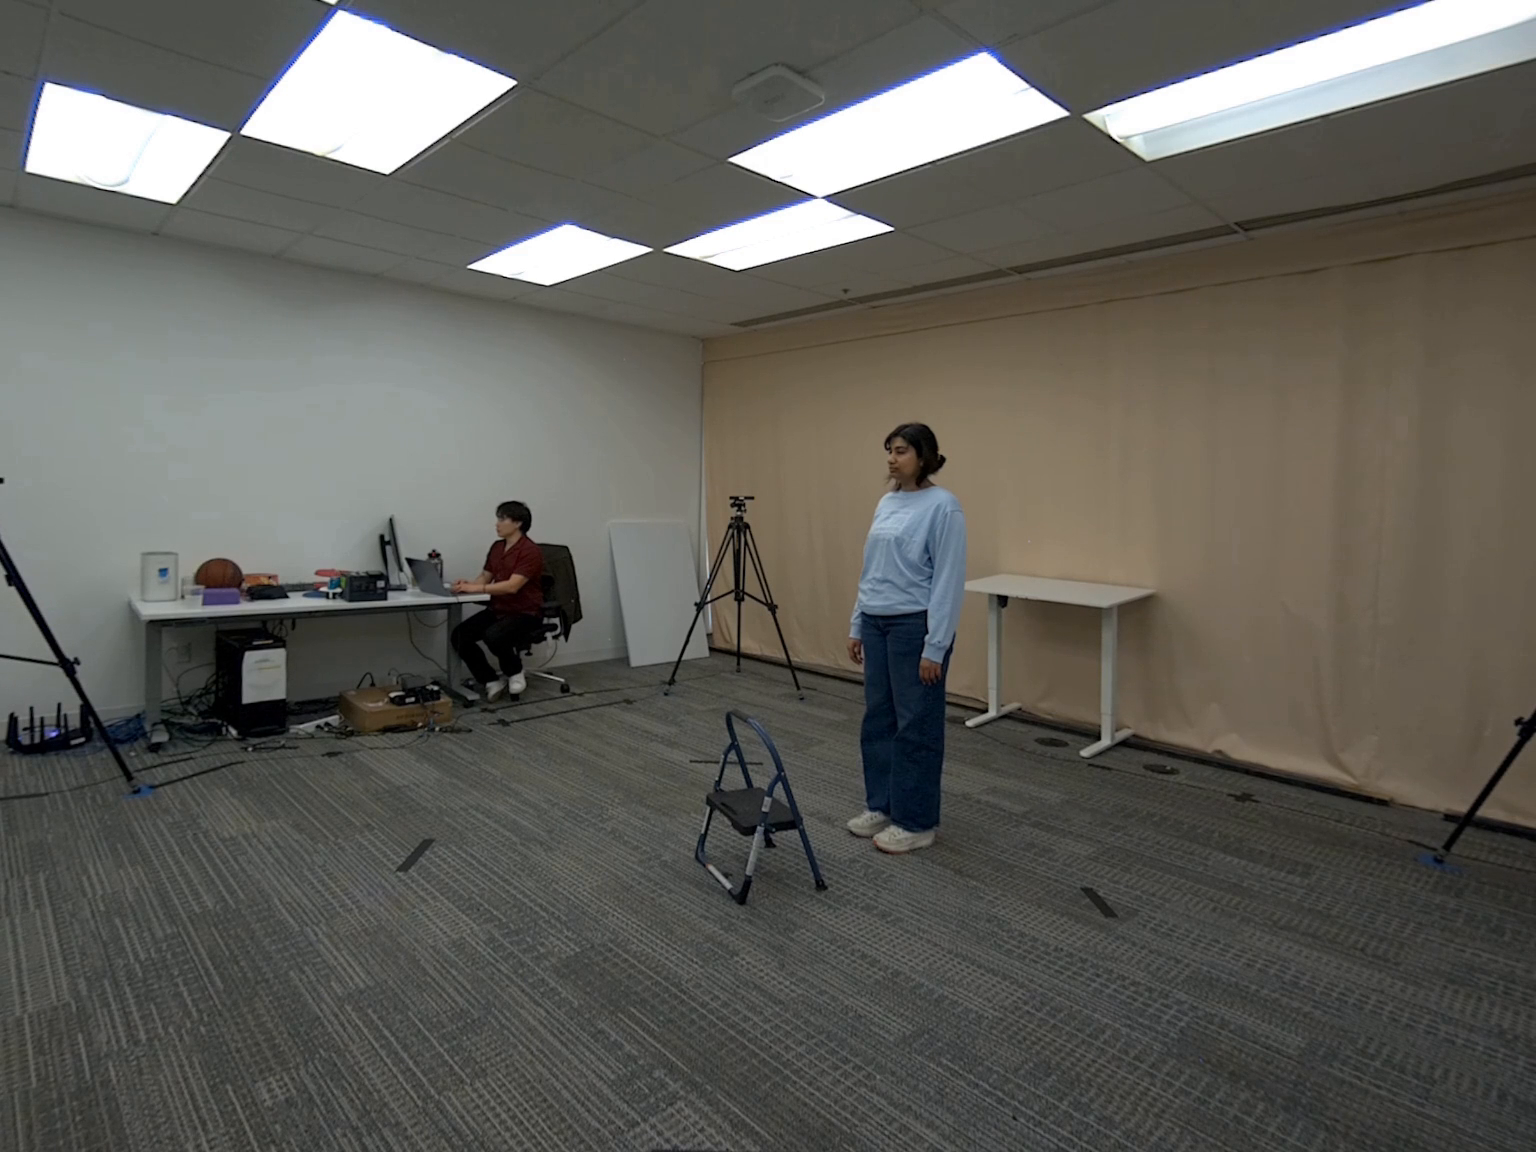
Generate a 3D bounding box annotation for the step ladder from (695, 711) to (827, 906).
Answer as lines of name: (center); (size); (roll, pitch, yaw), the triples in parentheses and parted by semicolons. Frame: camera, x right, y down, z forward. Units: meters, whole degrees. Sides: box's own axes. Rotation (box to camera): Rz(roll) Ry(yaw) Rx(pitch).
step ladder: (-0.036, 0.799, 3.114); (0.343, 0.605, 0.439); (0, 3, -27)
